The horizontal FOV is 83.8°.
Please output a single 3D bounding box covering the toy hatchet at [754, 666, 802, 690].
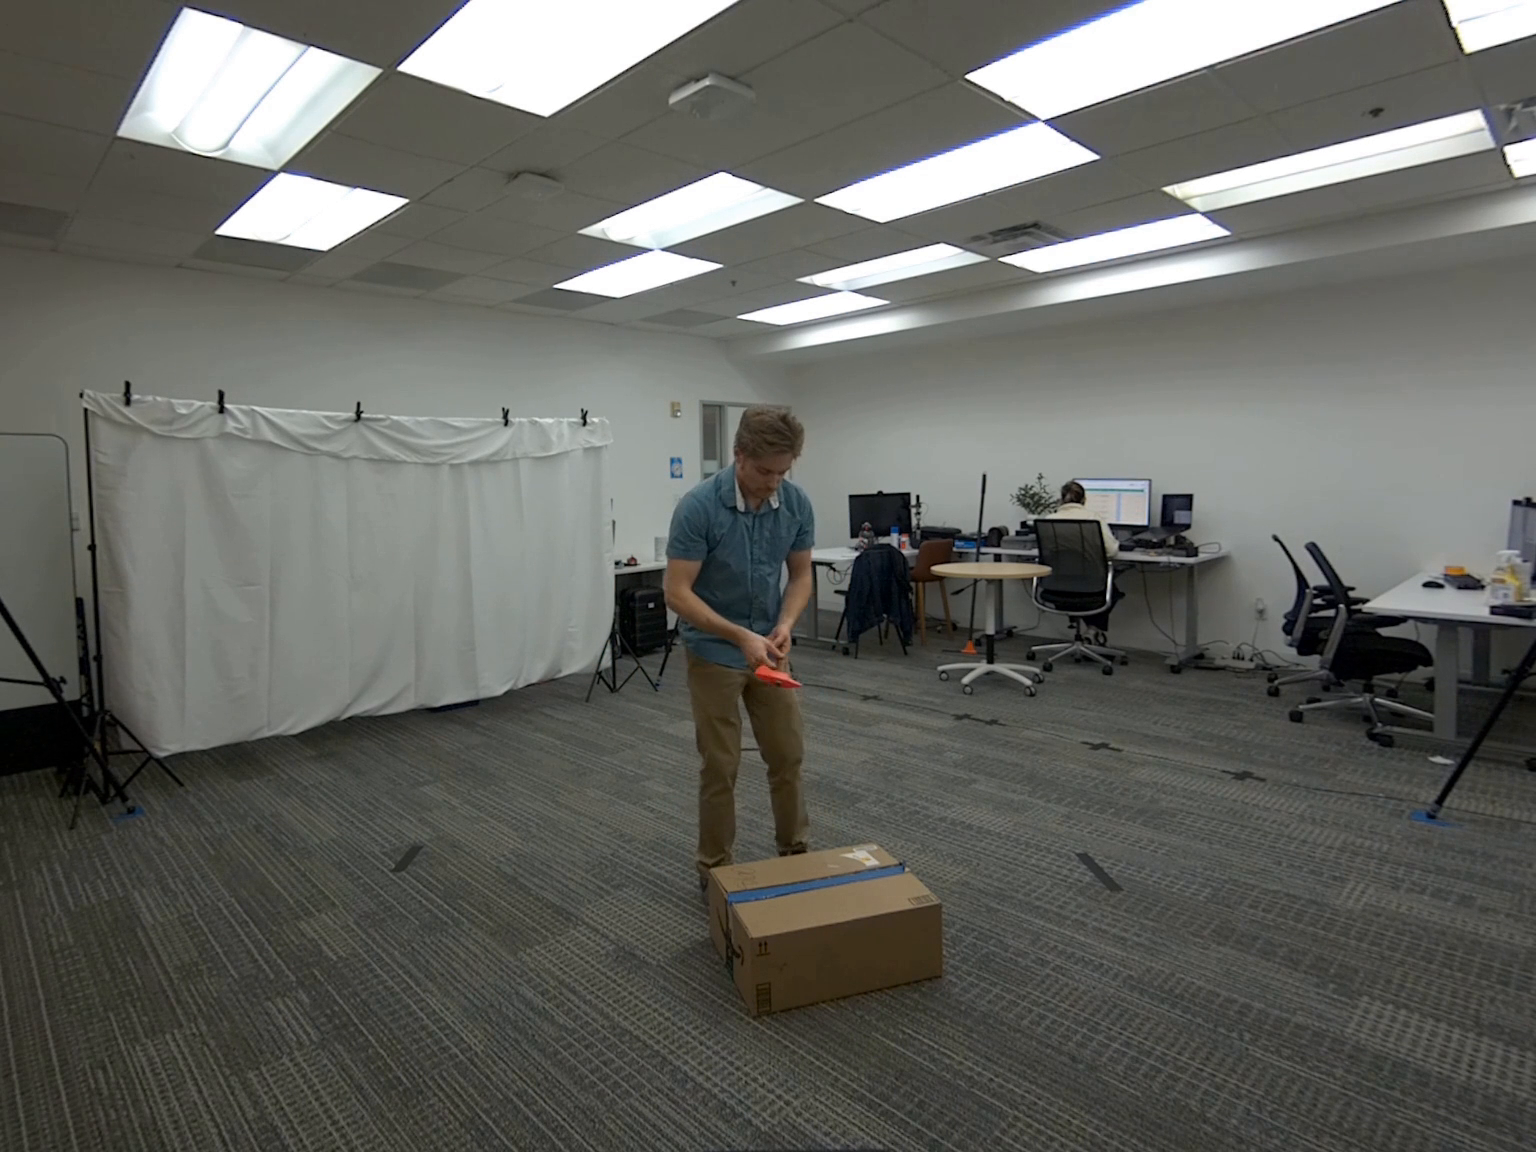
[{"bbox_3d":[0.005,0.261,2.511,0.129,0.029,0.277,5,18,-13],"label":"toy hatchet"}]
